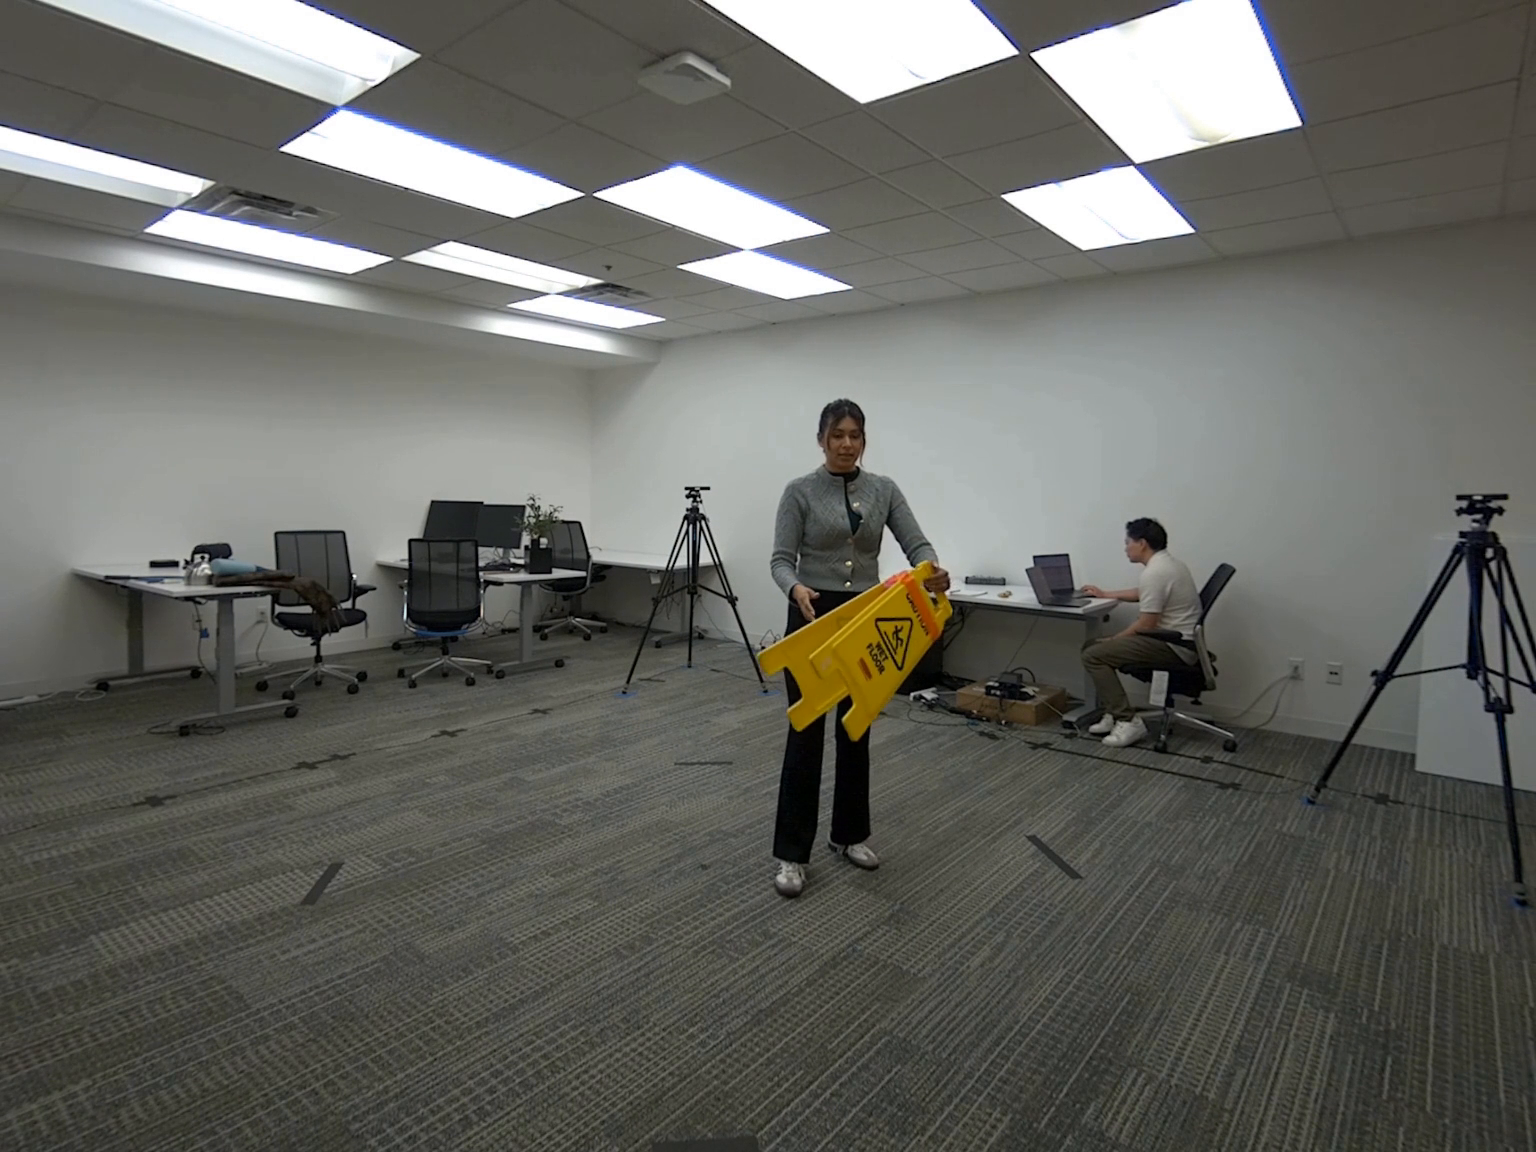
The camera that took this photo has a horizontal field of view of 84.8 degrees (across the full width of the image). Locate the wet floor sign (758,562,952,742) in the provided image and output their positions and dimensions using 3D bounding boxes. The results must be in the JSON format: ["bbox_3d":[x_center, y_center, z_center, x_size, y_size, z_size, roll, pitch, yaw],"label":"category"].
[{"bbox_3d":[0.329,0.190,2.630,0.640,0.278,0.296,-35,13,-28],"label":"wet floor sign"}]
